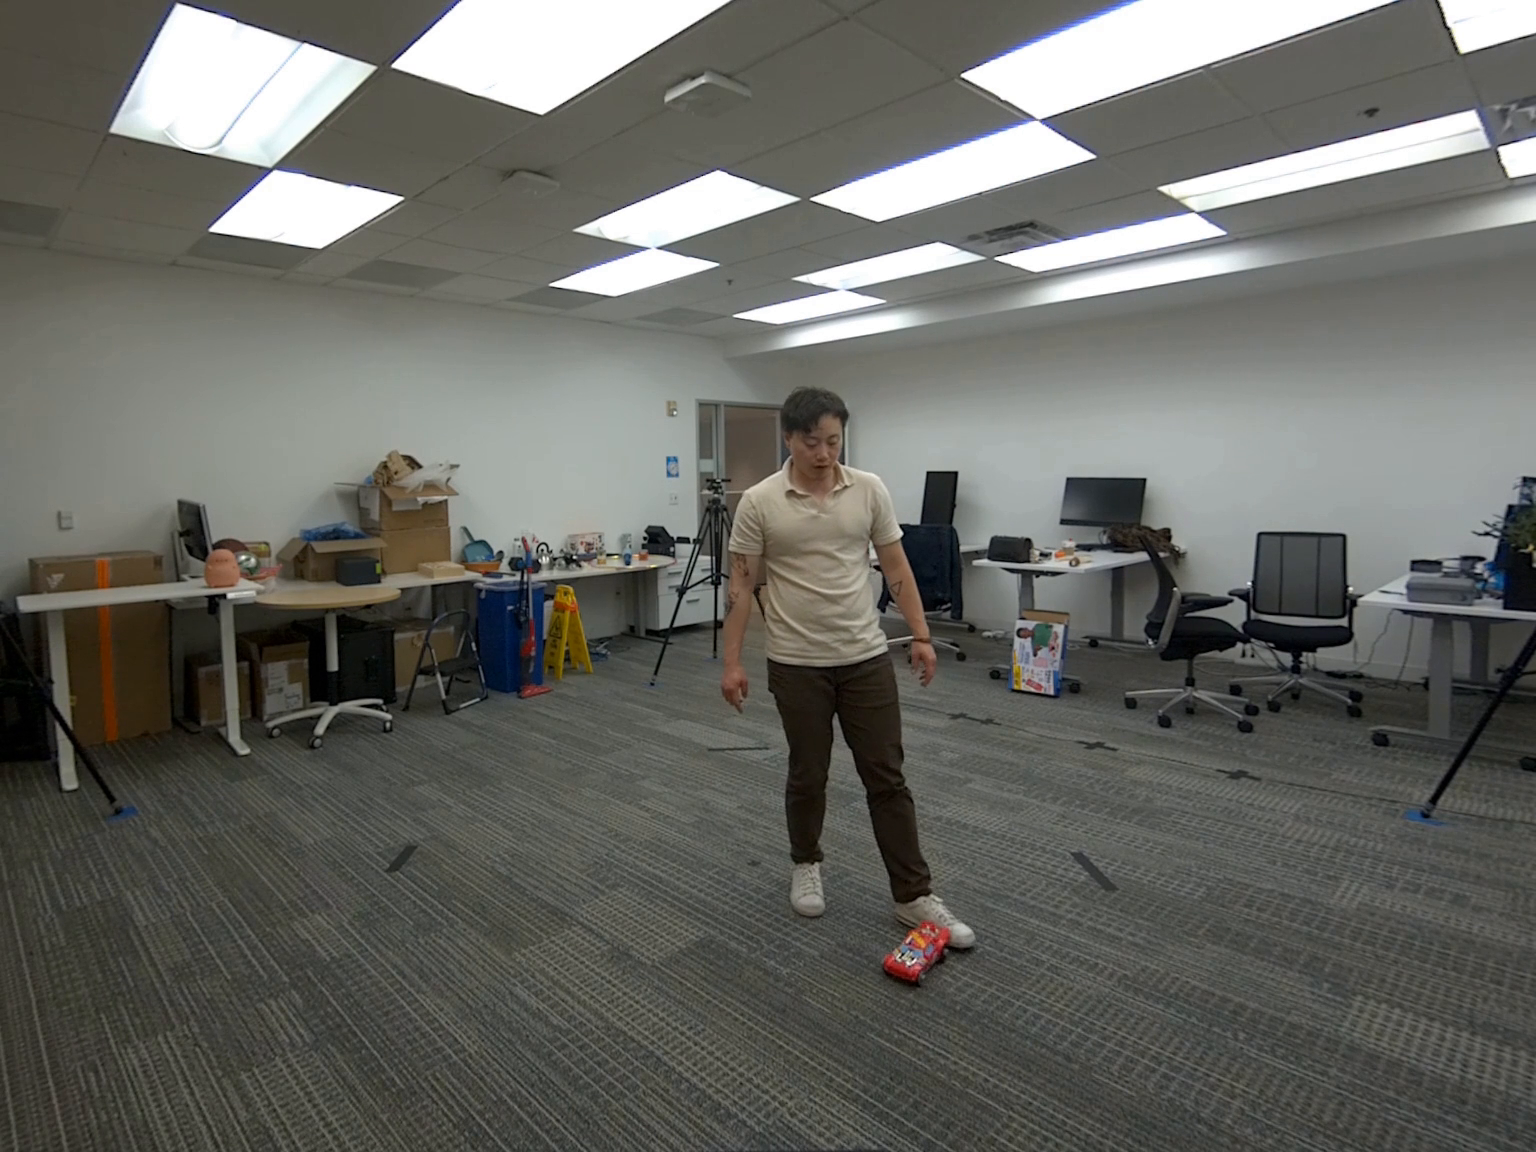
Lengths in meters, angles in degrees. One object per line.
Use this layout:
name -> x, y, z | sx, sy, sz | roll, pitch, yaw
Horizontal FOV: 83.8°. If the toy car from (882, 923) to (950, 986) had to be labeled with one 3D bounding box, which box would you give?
toy car -> 0.442, 1.082, 2.447 | 0.134, 0.082, 0.251 | 2, 19, 37
